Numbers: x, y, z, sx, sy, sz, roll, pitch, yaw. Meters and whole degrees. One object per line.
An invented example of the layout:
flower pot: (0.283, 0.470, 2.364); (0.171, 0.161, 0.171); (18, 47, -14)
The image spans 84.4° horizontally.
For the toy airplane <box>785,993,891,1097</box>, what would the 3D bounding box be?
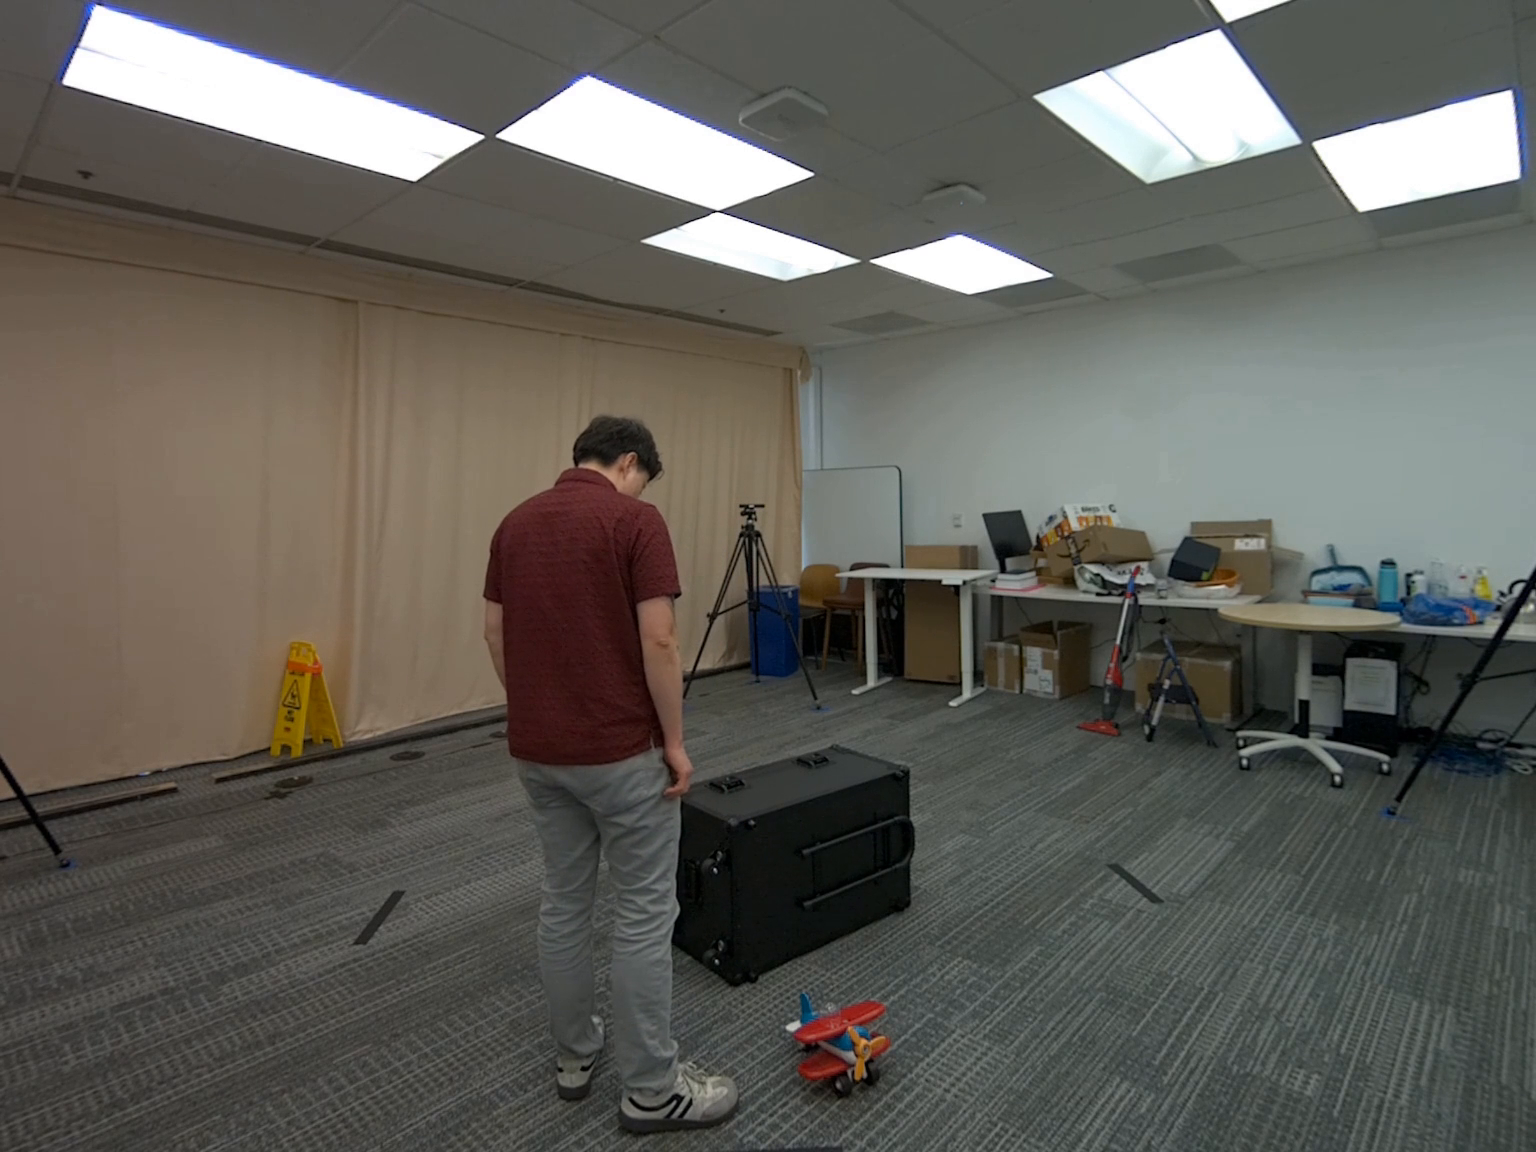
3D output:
toy airplane: (0.150, 1.135, 2.067); (0.267, 0.156, 0.244); (3, 6, 30)
